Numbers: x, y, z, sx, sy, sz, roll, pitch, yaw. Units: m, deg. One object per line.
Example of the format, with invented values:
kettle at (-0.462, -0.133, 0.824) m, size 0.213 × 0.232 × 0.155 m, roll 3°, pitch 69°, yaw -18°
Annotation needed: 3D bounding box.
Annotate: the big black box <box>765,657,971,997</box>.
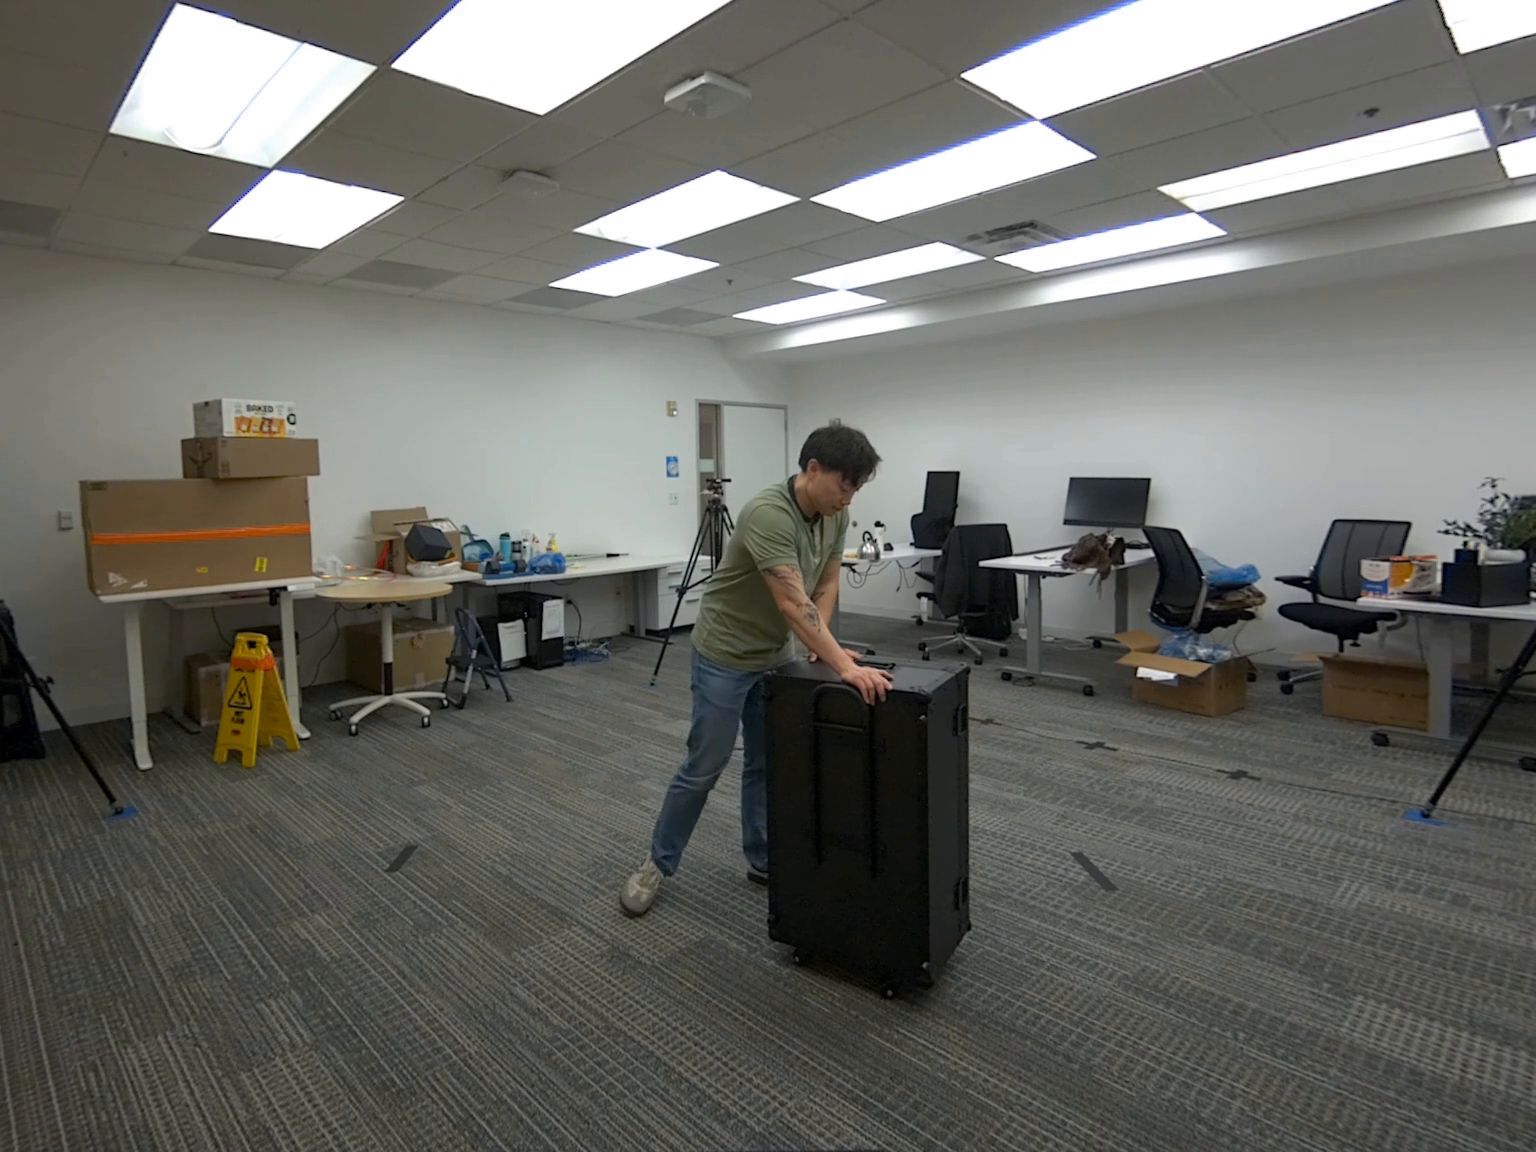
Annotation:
big black box at (0.301, 0.694, 2.438) m, size 0.535 × 0.858 × 0.387 m, roll 2°, pitch 5°, yaw 32°
